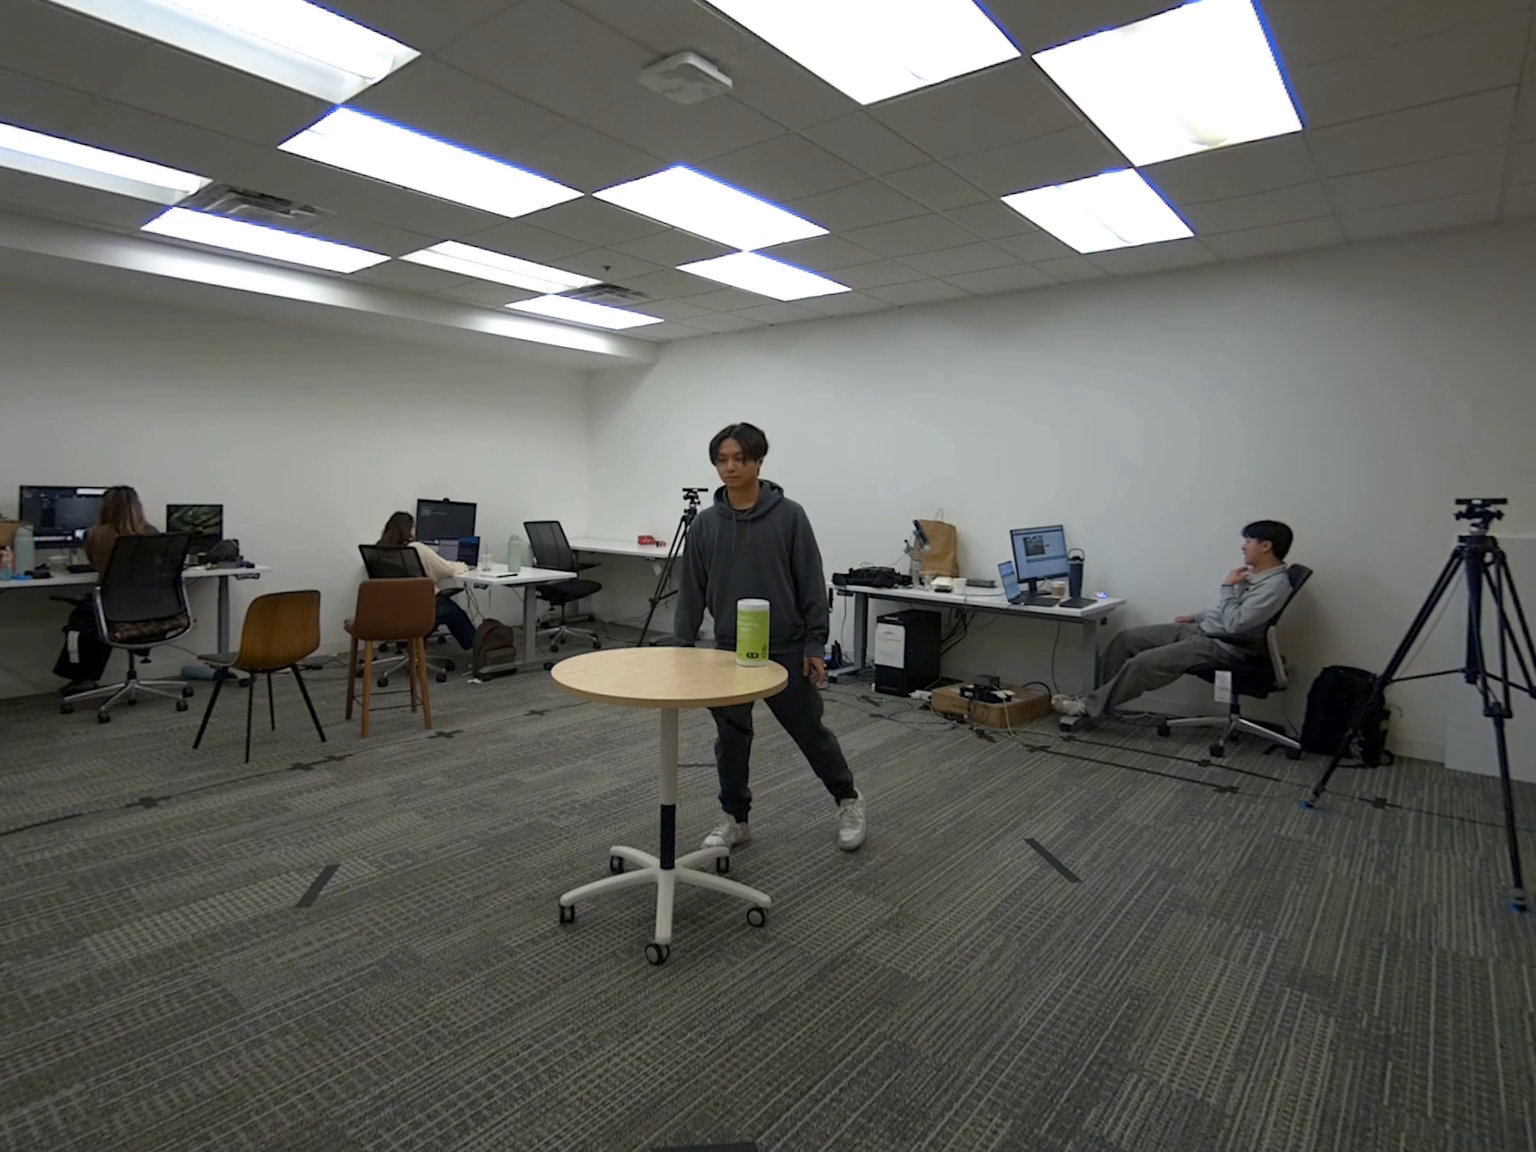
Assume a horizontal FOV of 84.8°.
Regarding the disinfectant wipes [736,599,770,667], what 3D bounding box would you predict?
[{"bbox_3d":[-0.053,0.183,2.889,0.117,0.216,0.118,5,5,-2],"label":"disinfectant wipes"}]
